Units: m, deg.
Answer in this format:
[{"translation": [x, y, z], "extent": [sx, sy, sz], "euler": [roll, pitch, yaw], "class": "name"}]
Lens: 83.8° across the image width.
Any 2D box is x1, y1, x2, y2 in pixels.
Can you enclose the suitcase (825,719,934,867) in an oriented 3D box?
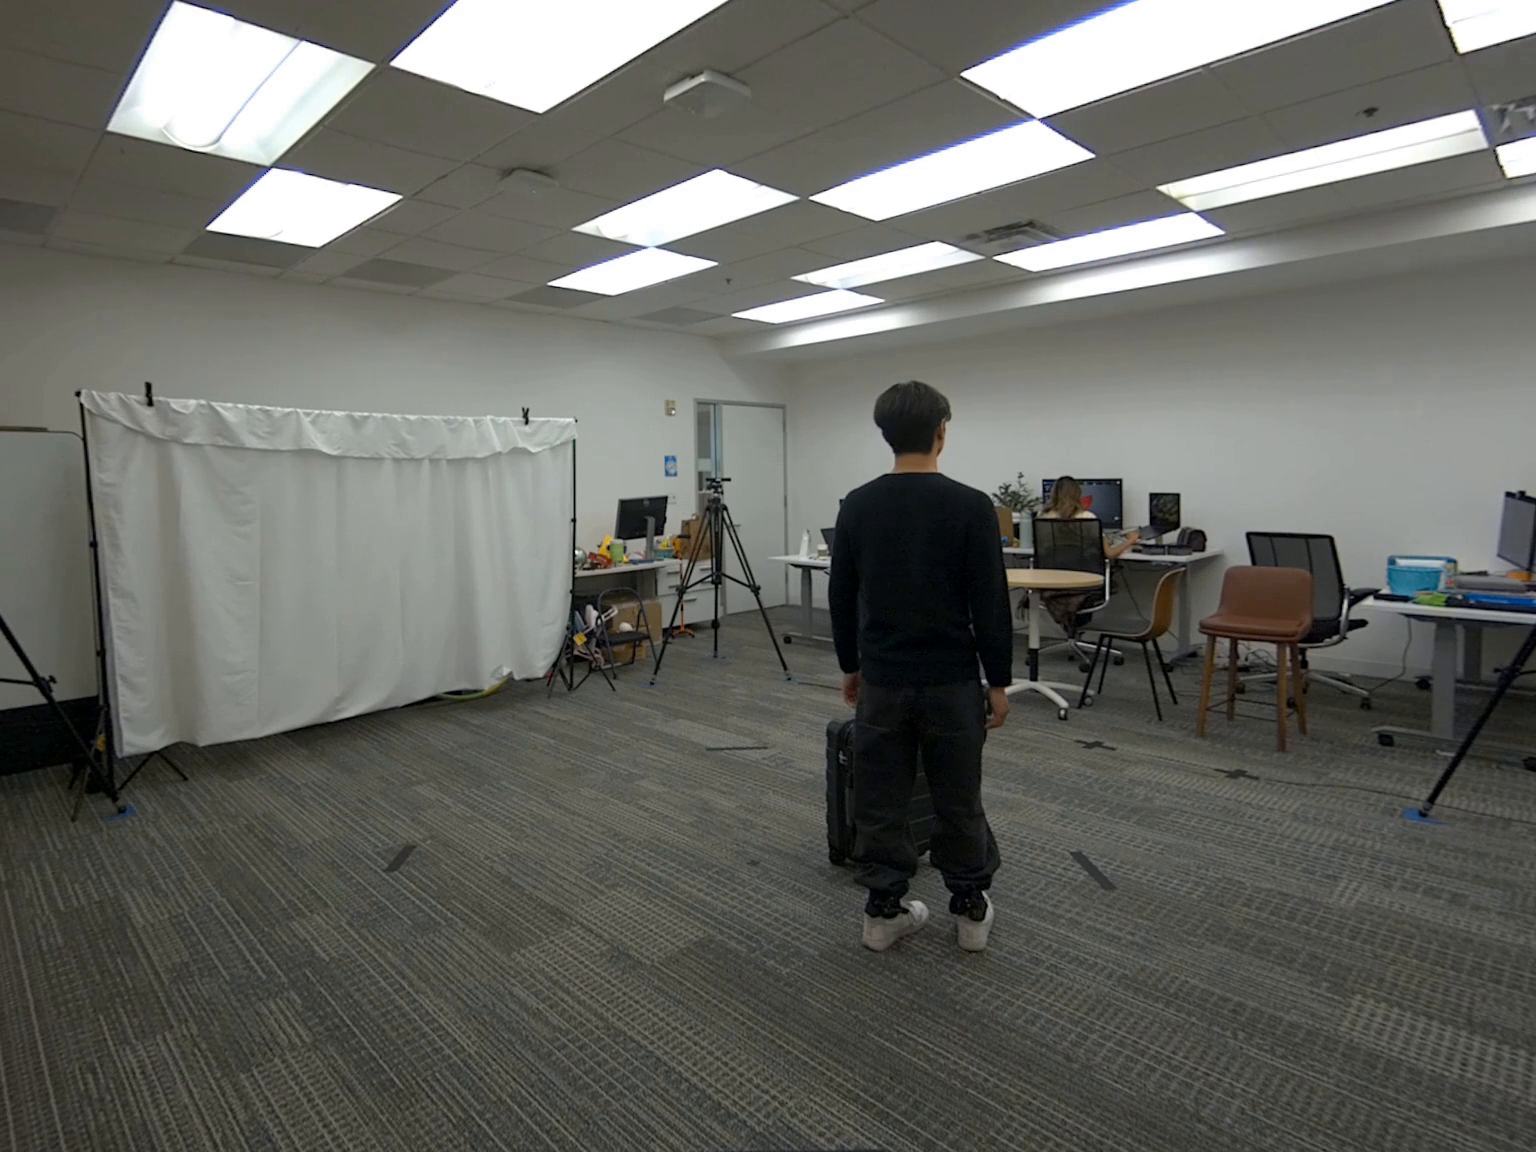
[{"translation": [0.401, 0.565, 3.068], "extent": [0.375, 0.978, 0.263], "euler": [-4, 1, -31], "class": "suitcase"}]
